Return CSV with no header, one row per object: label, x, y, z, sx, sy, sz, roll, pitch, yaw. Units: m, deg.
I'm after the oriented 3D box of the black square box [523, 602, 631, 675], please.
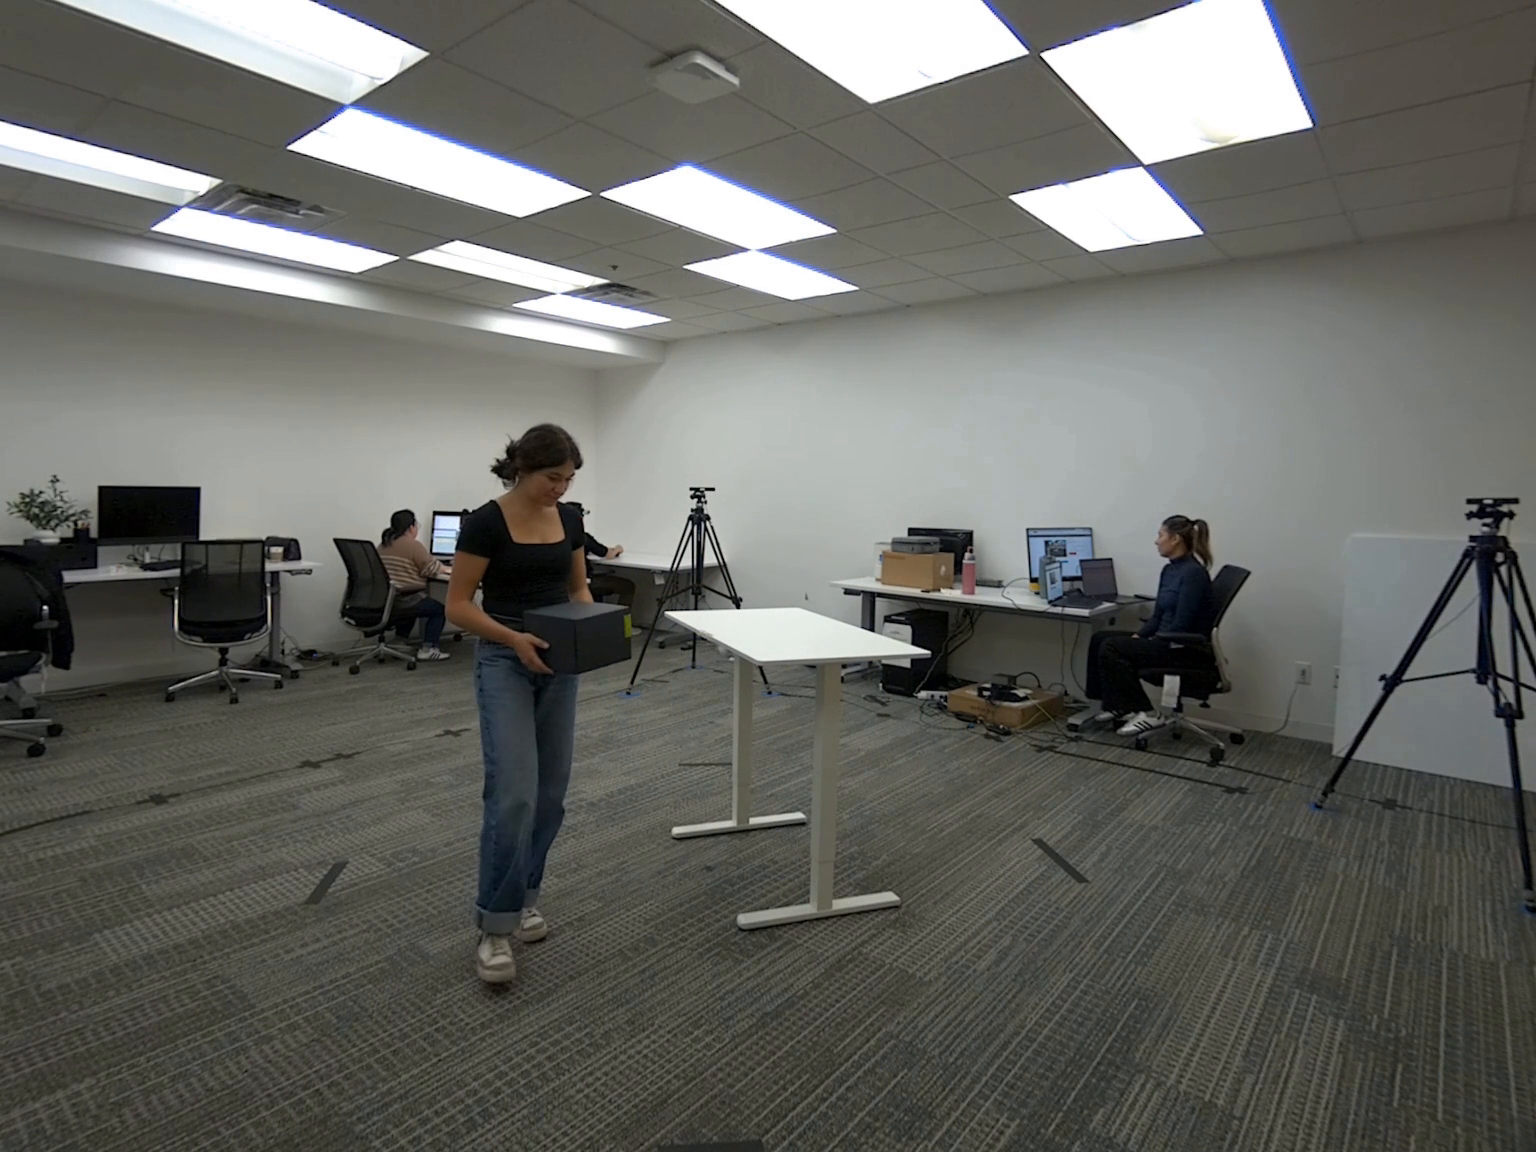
black square box,-0.563,0.171,2.465,0.235,0.155,0.211,4,9,38
